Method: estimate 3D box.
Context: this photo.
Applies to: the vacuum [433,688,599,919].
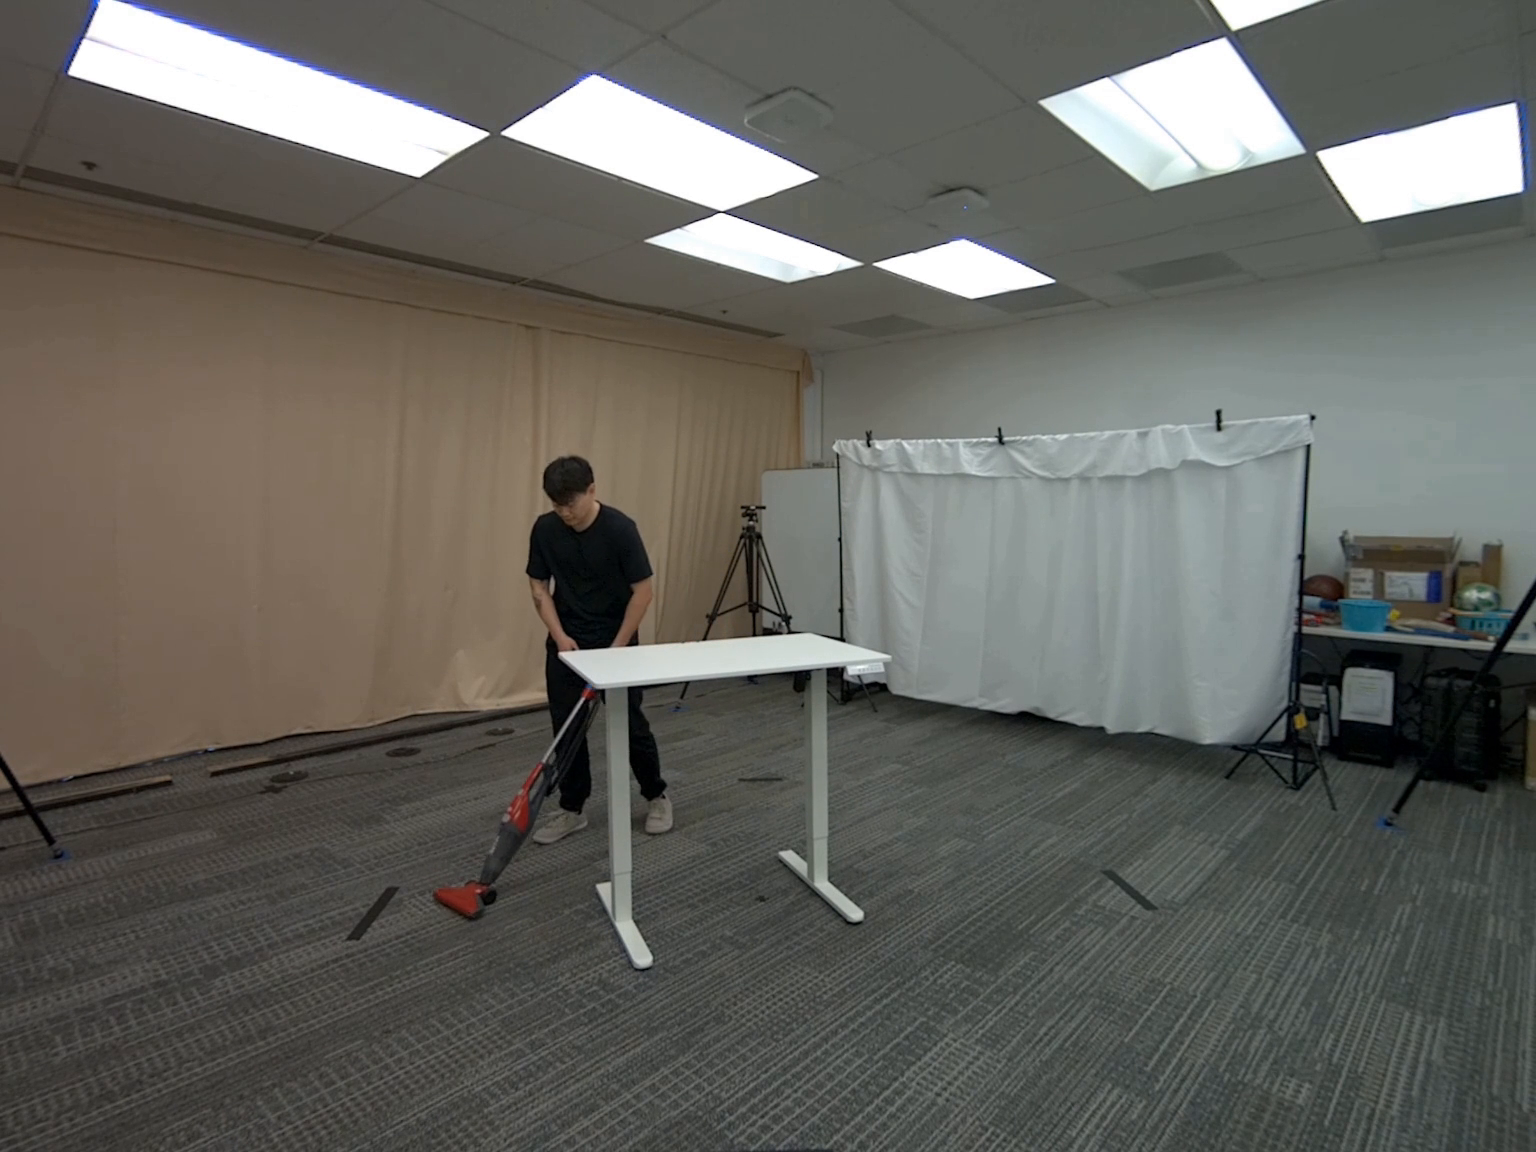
[{"bbox_3d":[-0.825,0.737,3.224,0.261,1.048,0.139,6,-38,35],"label":"vacuum"}]
